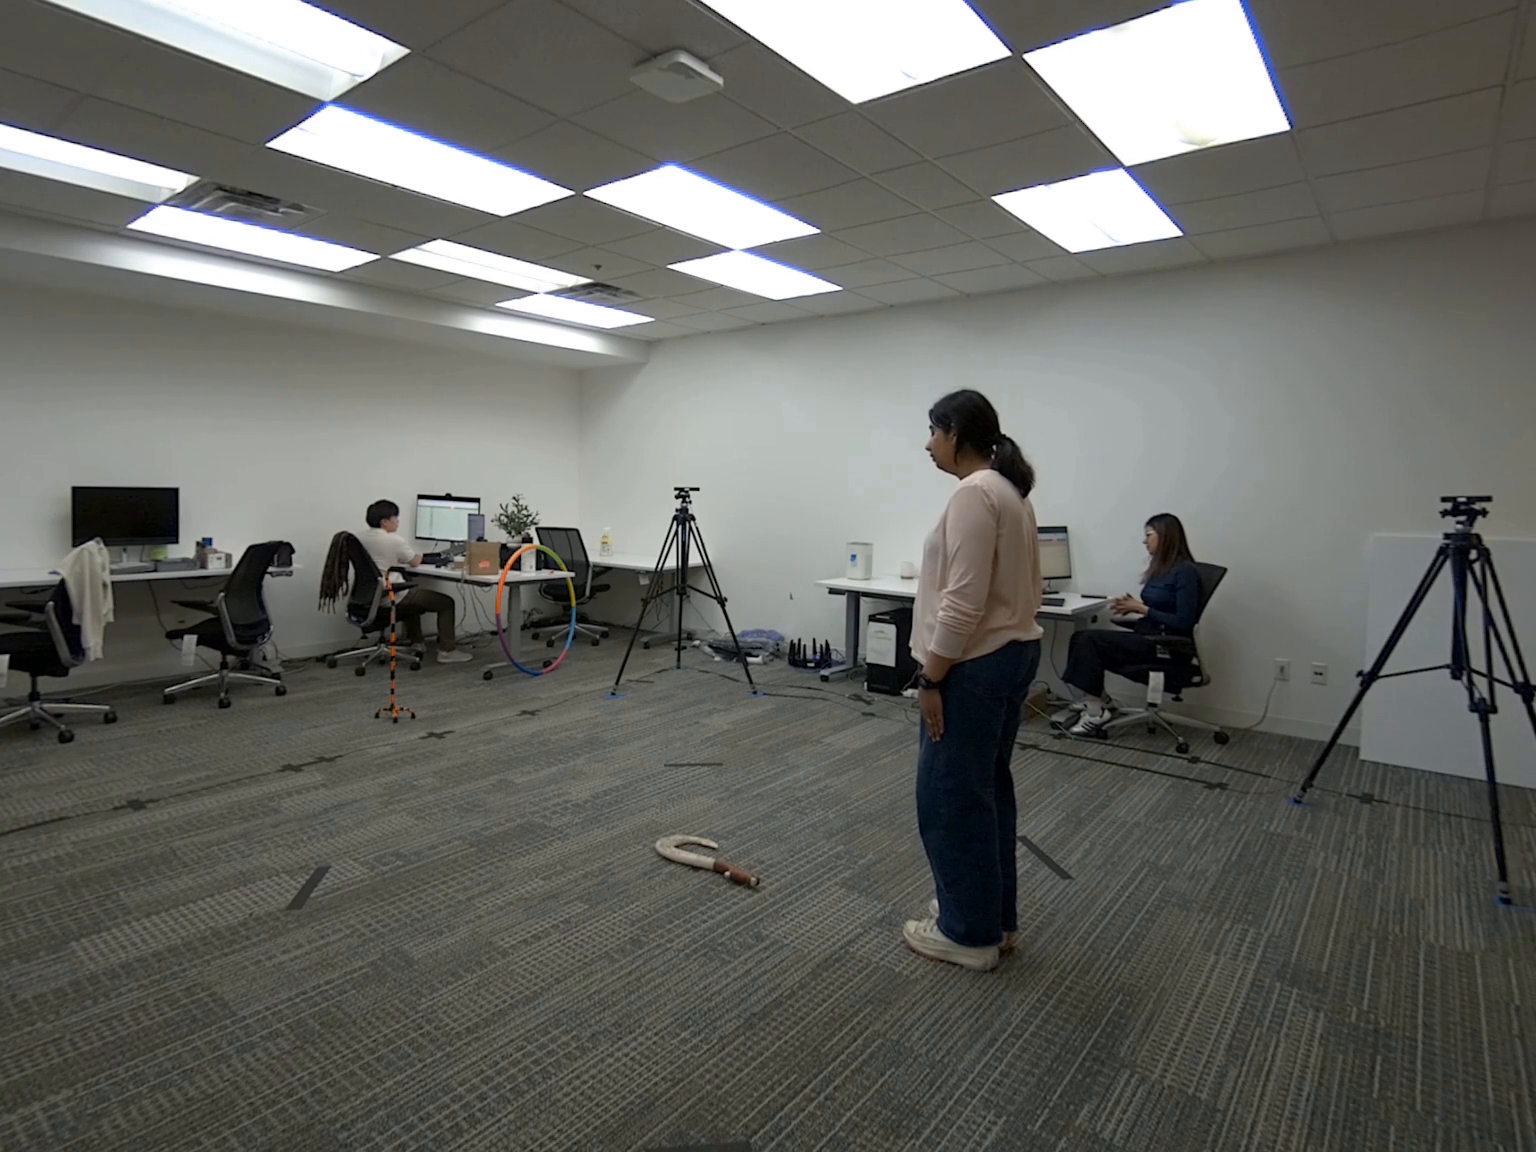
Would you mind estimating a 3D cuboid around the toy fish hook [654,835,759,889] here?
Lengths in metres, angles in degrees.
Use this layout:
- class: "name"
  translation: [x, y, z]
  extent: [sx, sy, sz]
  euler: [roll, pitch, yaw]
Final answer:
- class: "toy fish hook"
  translation: [-0.211, 1.040, 3.154]
  extent: [0.524, 0.048, 0.218]
  euler: [6, 9, 41]
